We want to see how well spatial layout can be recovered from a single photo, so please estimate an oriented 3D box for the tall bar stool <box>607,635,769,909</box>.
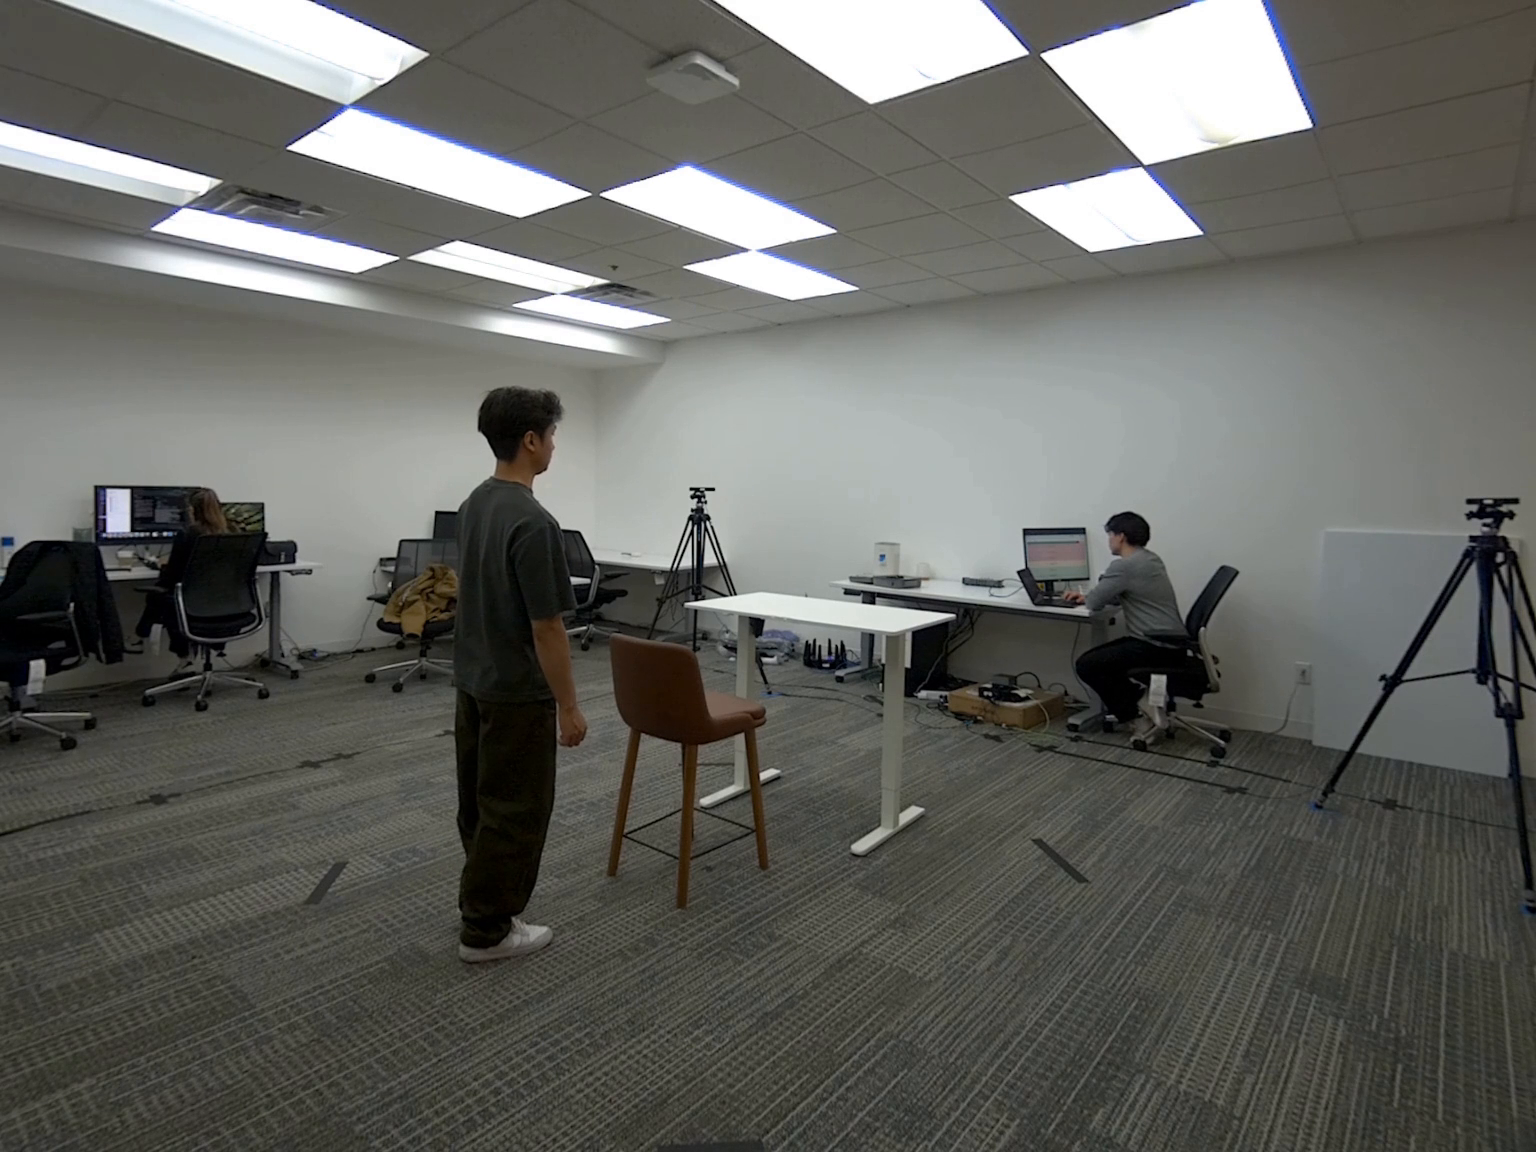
[{"bbox_3d":[-0.305,0.633,3.061,0.472,0.887,0.454,3,5,40],"label":"tall bar stool"}]
